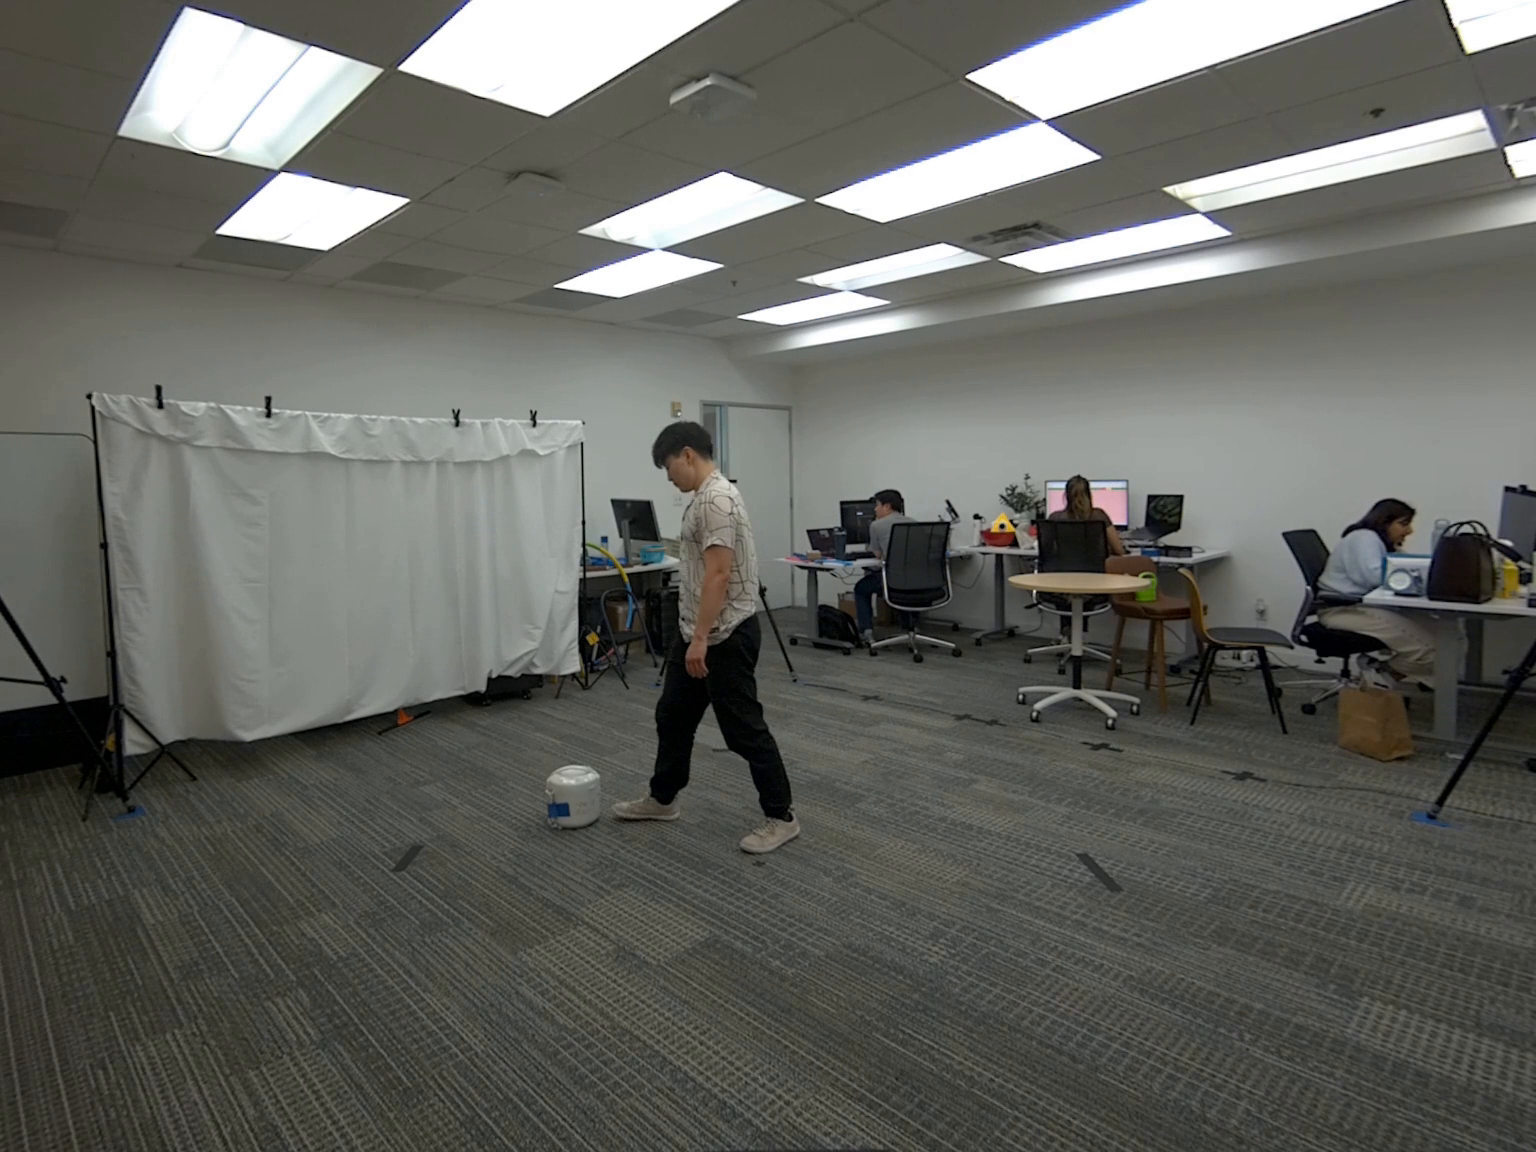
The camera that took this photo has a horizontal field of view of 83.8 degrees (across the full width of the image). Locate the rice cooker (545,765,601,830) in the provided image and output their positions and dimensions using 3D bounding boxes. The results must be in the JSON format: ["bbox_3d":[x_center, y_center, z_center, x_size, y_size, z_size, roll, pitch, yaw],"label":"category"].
[{"bbox_3d":[-0.799,0.896,3.533,0.220,0.232,0.219,-1,5,-3],"label":"rice cooker"}]
